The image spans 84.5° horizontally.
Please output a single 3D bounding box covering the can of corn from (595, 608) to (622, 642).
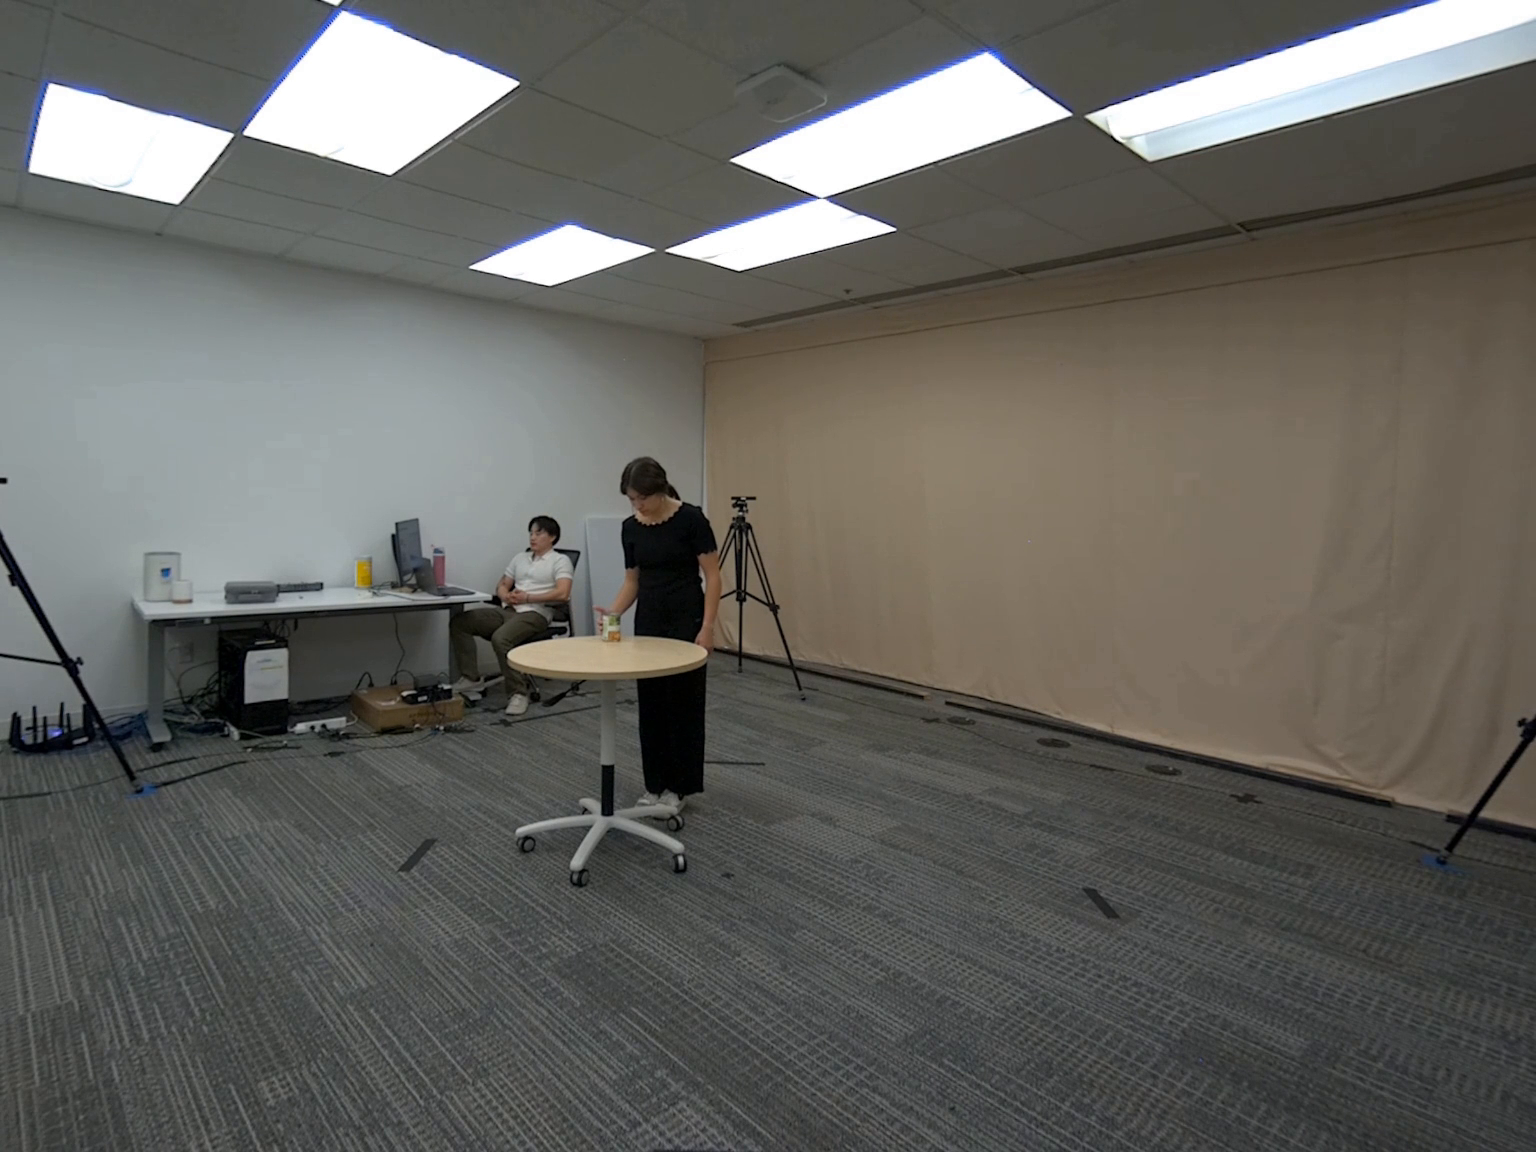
[{"bbox_3d":[-0.680,0.214,3.523,0.074,0.111,0.074,-1,4,-1],"label":"can of corn"}]
